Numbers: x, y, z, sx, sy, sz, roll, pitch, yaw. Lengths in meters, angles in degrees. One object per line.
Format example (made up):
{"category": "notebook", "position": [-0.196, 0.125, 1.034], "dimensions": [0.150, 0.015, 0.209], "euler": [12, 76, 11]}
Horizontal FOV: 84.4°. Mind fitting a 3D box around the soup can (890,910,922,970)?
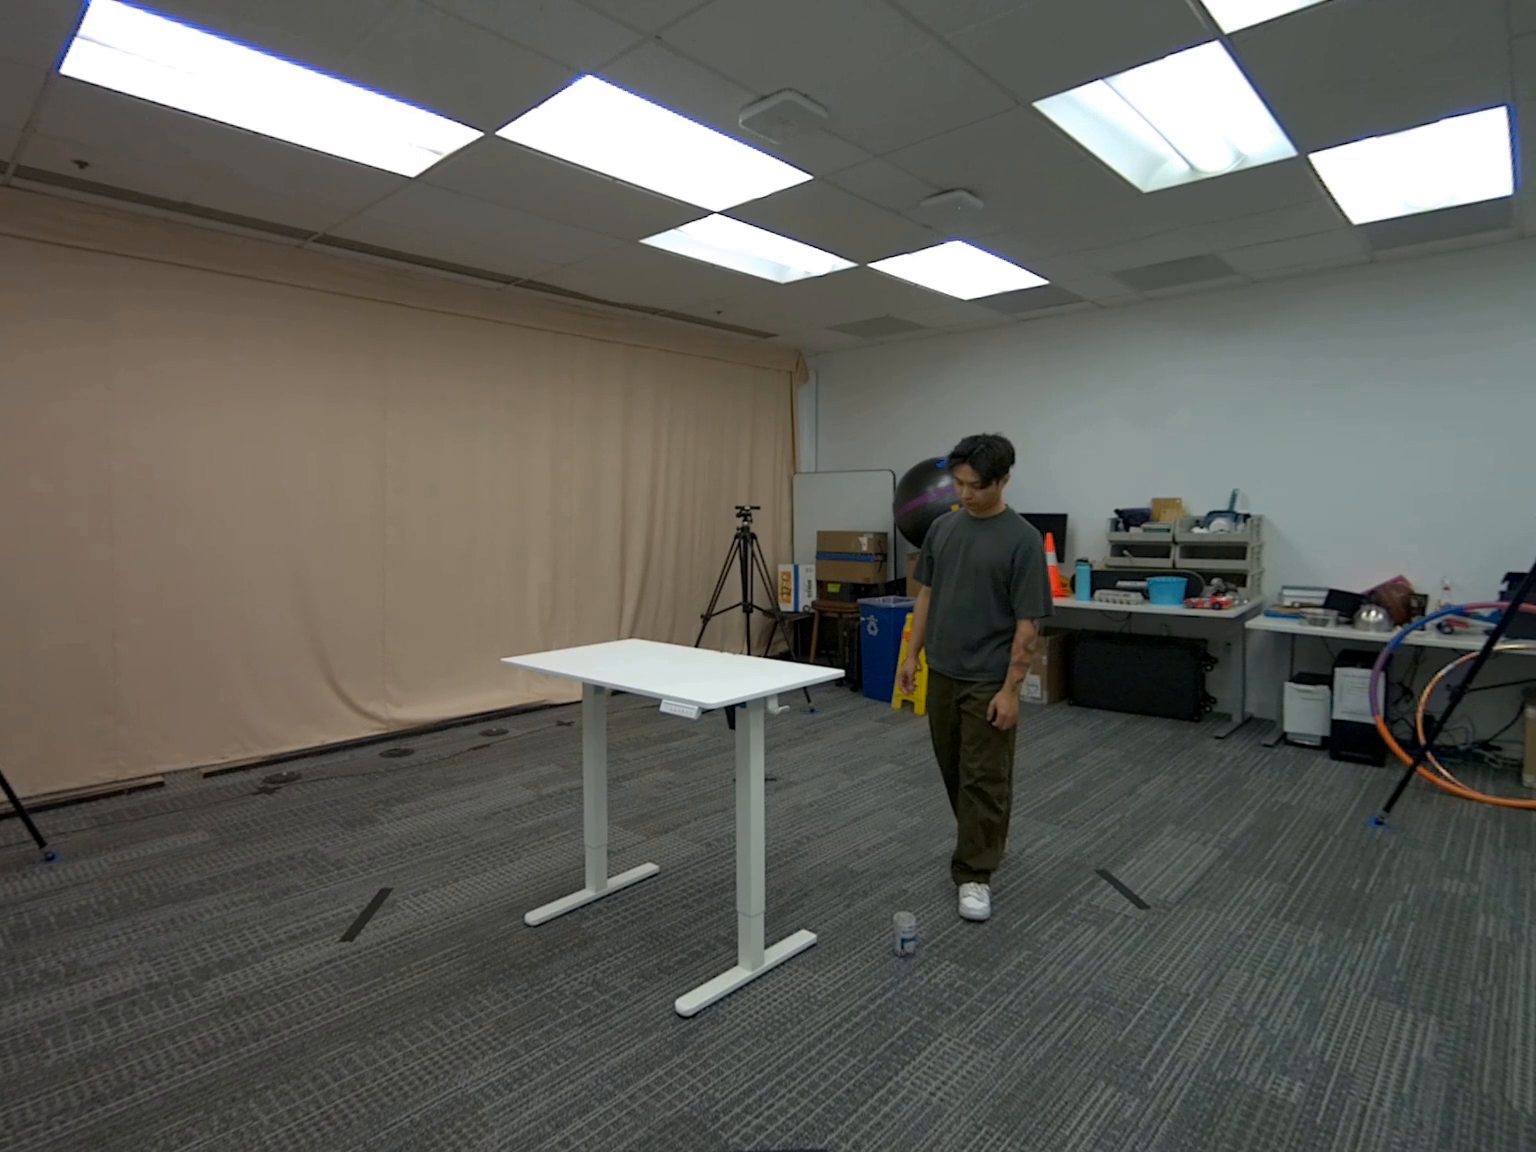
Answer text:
{"category": "soup can", "position": [0.432, 1.117, 2.605], "dimensions": [0.067, 0.121, 0.067], "euler": [-1, 5, -2]}
